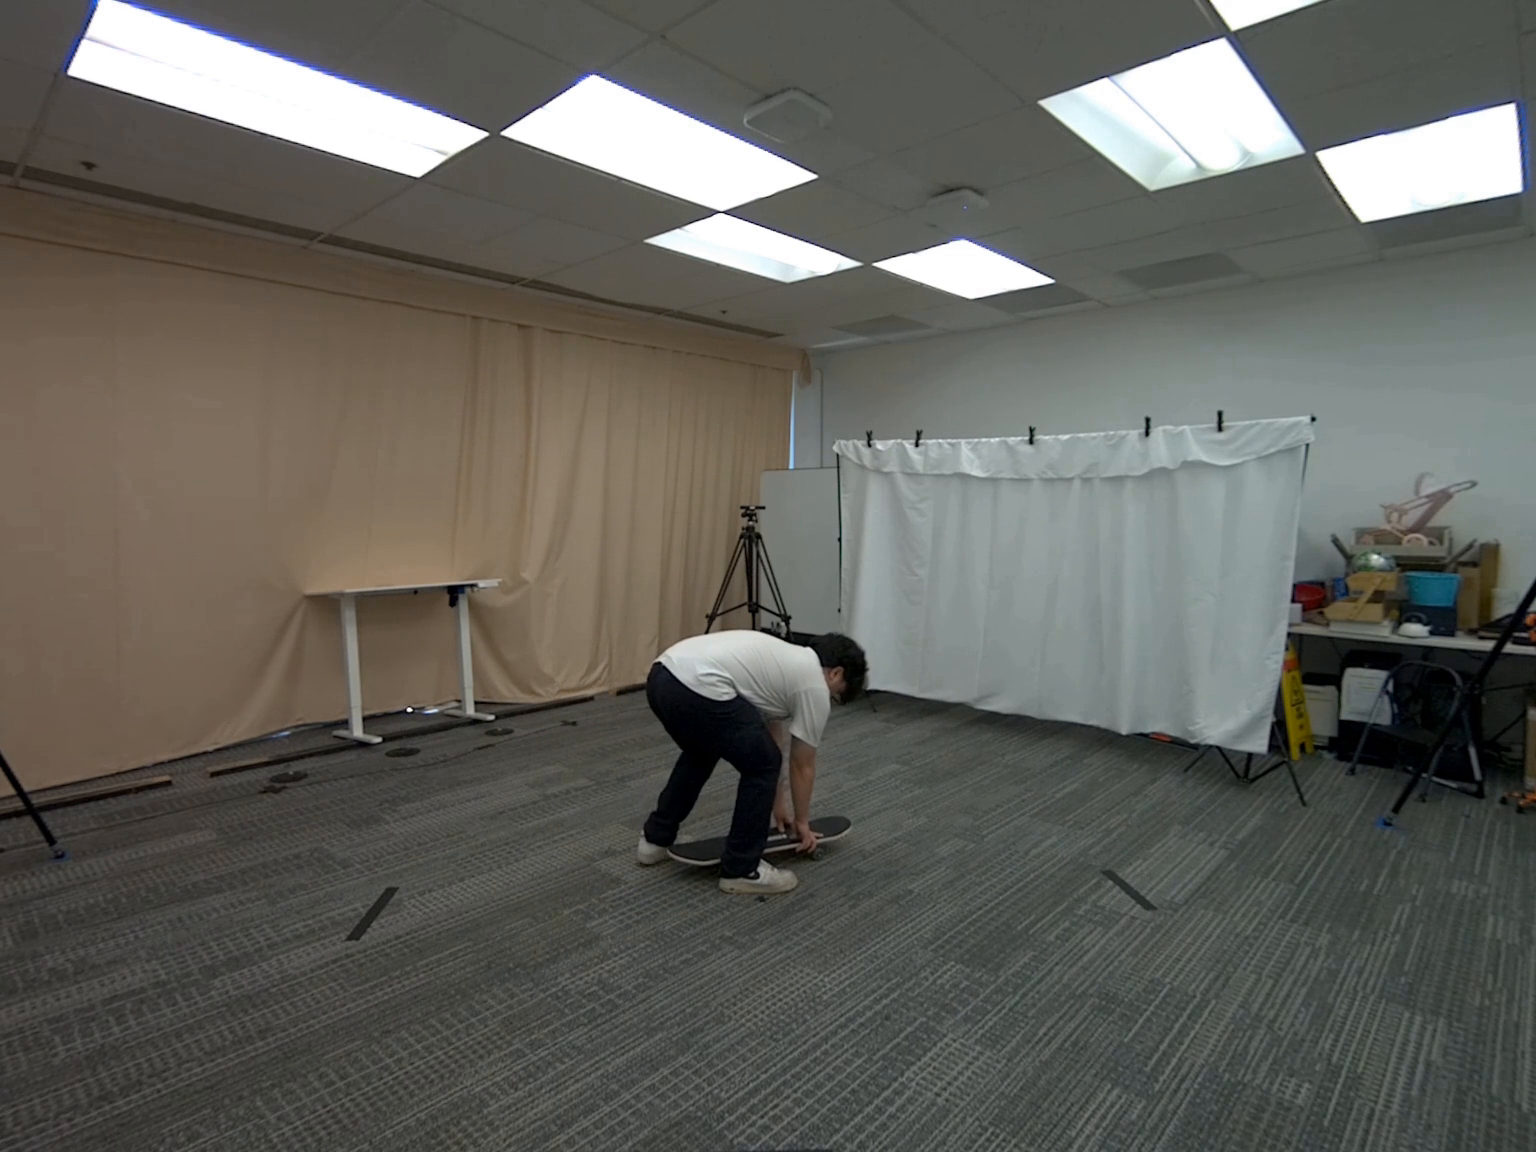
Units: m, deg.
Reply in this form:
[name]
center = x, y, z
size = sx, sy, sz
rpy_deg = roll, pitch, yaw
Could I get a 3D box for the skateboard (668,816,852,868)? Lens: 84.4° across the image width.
[skateboard]
center = -0.016, 1.069, 3.290
size = 0.767, 0.110, 0.198
rpy_deg = -3, 5, -24
